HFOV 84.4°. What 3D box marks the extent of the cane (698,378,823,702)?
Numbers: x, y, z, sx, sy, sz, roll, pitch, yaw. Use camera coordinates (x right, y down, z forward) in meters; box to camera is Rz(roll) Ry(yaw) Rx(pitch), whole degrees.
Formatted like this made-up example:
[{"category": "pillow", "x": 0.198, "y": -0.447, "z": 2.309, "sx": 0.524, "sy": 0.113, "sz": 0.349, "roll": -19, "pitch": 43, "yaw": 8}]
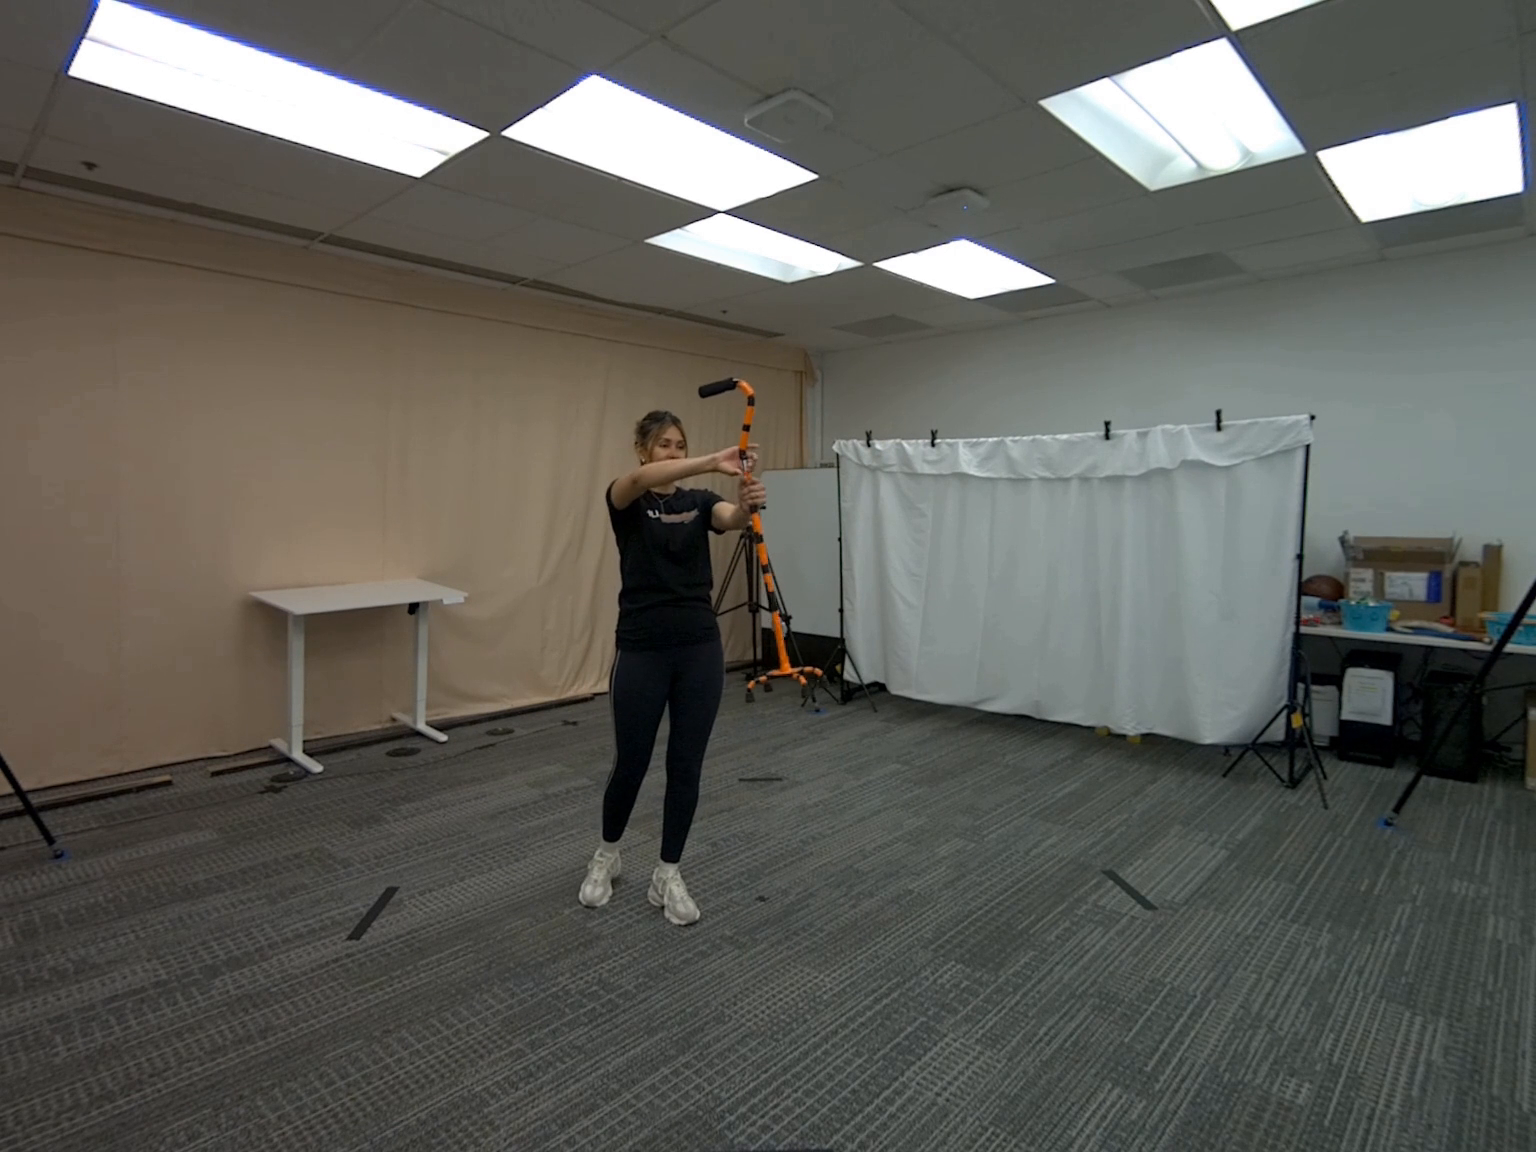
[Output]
[{"category": "cane", "x": -0.024, "y": -0.115, "z": 2.383, "sx": 0.211, "sy": 0.906, "sz": 0.148, "roll": -11, "pitch": 3, "yaw": 27}]
